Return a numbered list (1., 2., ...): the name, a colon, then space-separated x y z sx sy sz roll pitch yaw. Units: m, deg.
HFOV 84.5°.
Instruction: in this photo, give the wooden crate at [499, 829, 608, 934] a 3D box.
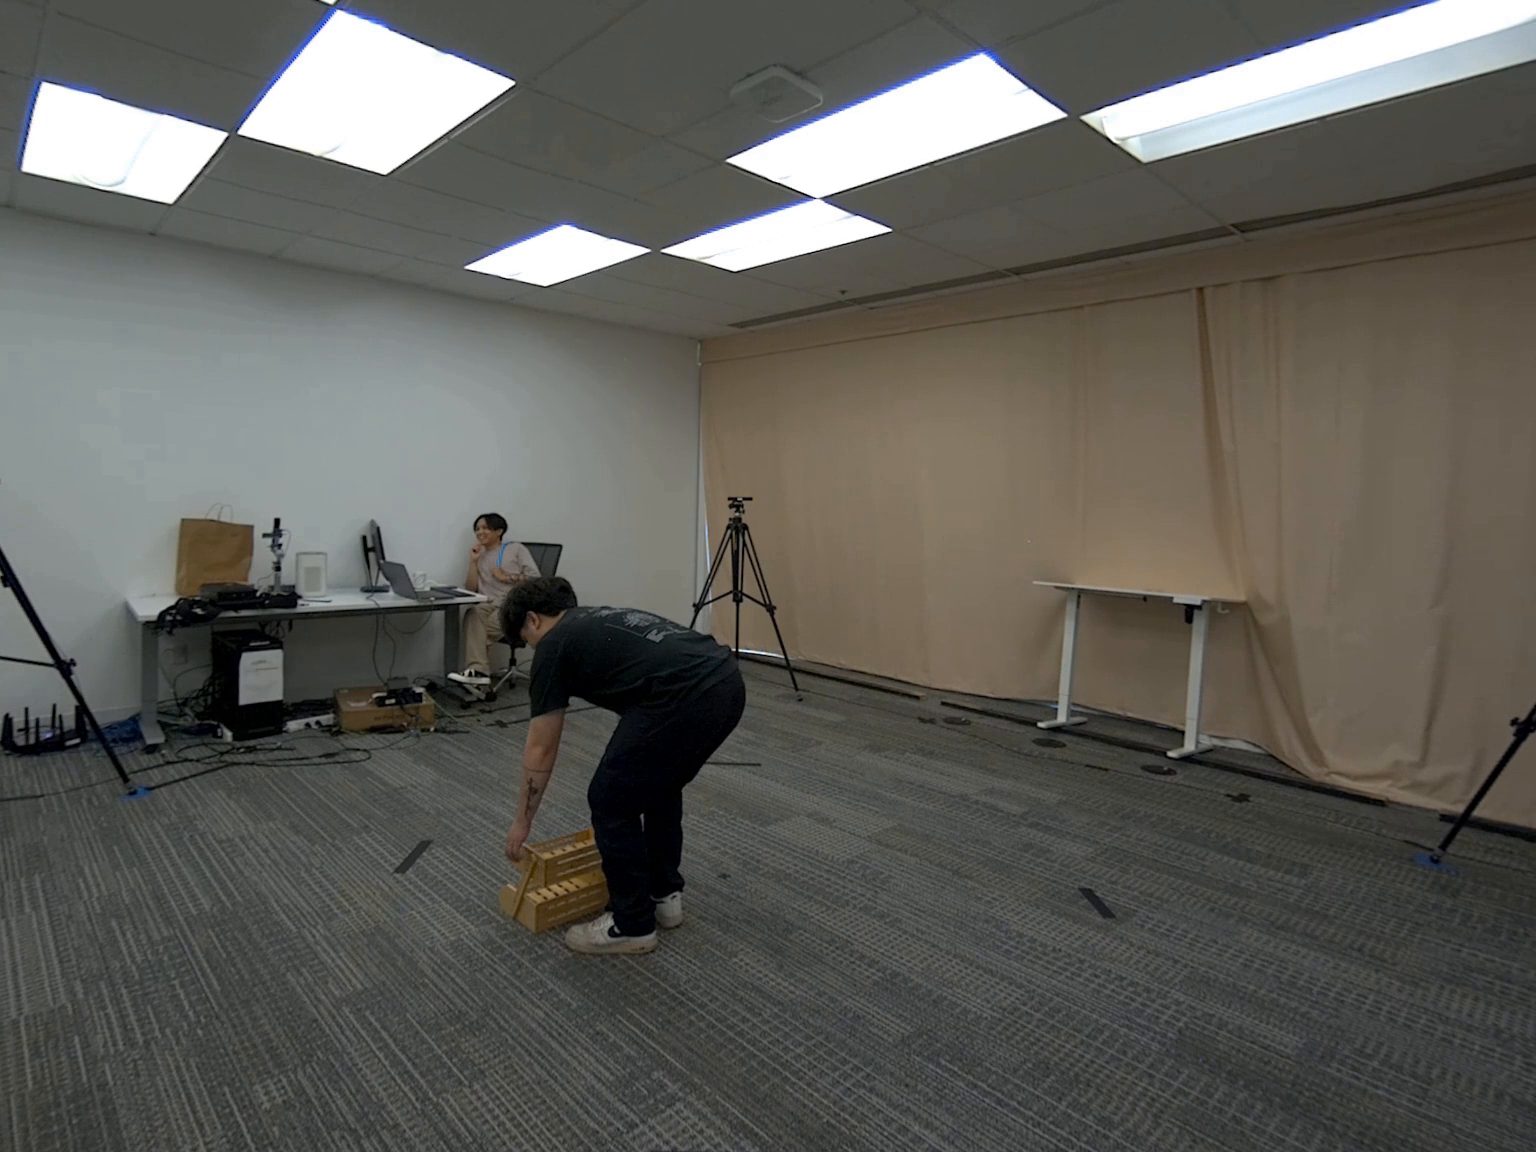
1. wooden crate: -0.700 0.985 2.830 0.317 0.272 0.310 -3 7 -45
